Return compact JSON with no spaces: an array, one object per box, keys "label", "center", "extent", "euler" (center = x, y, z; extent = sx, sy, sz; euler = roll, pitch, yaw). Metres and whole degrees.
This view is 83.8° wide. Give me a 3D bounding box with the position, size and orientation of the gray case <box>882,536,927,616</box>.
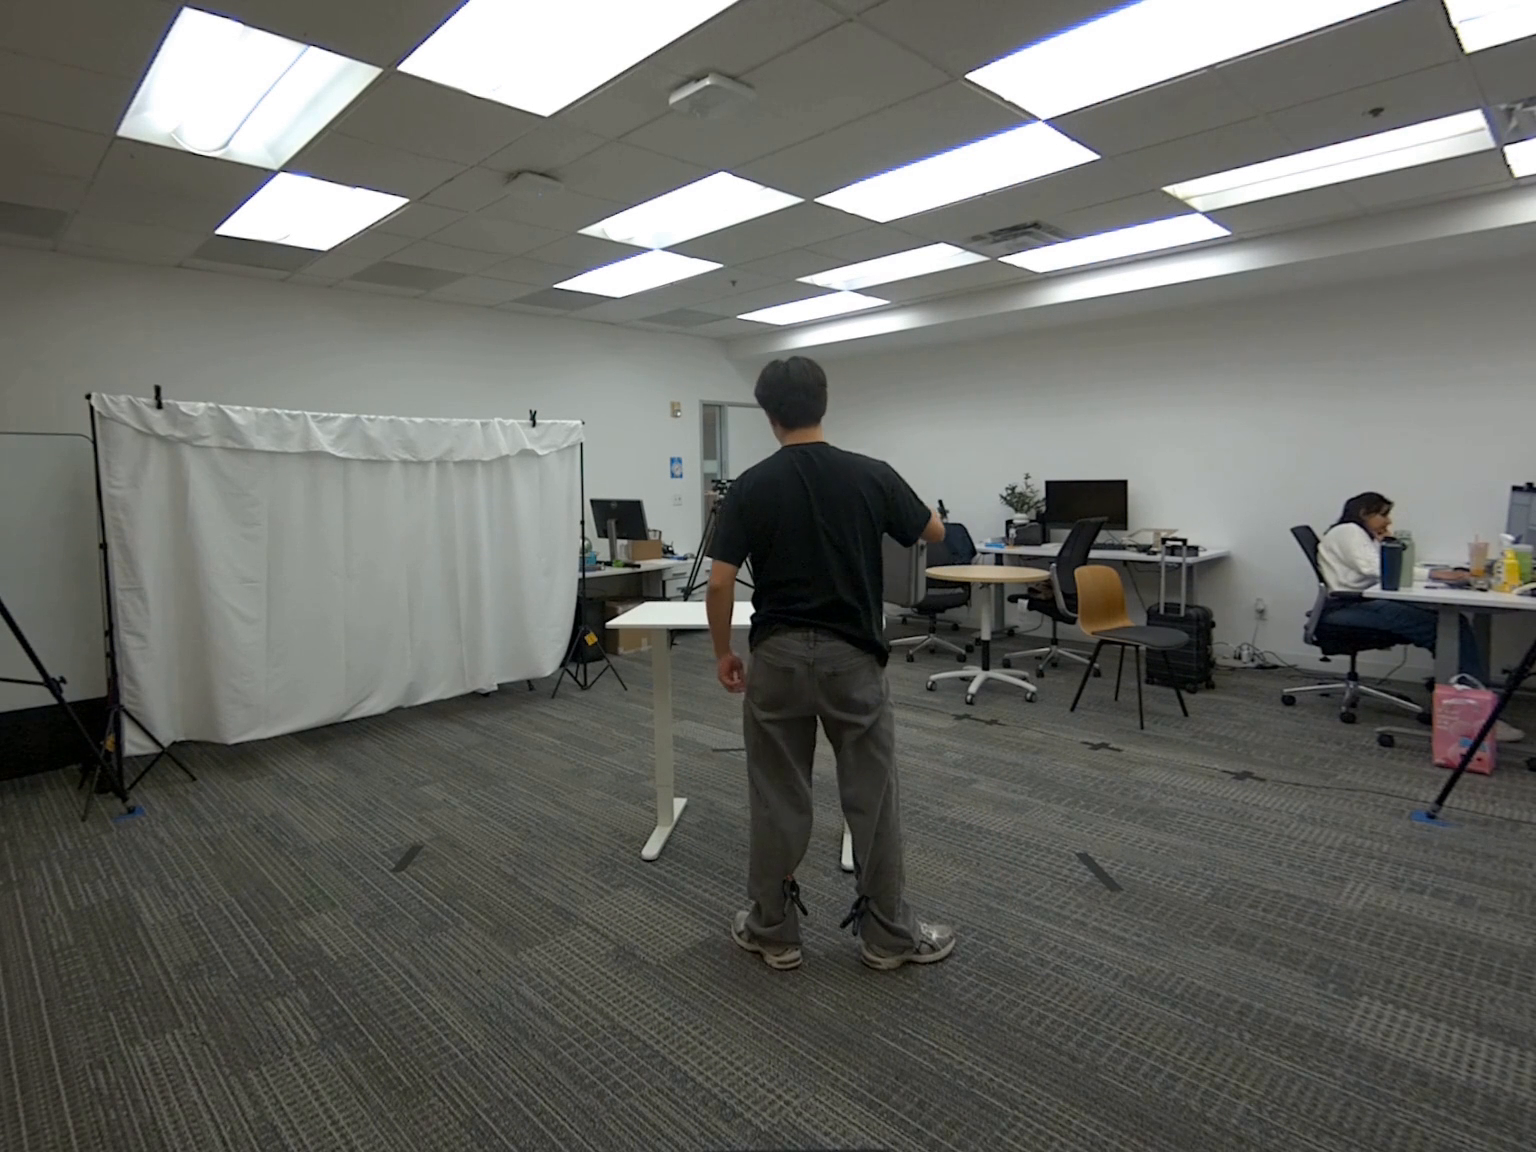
[{"label":"gray case","center":[0.400,-0.049,2.853],"extent":[0.272,0.284,0.101],"euler":[12,18,41]}]
